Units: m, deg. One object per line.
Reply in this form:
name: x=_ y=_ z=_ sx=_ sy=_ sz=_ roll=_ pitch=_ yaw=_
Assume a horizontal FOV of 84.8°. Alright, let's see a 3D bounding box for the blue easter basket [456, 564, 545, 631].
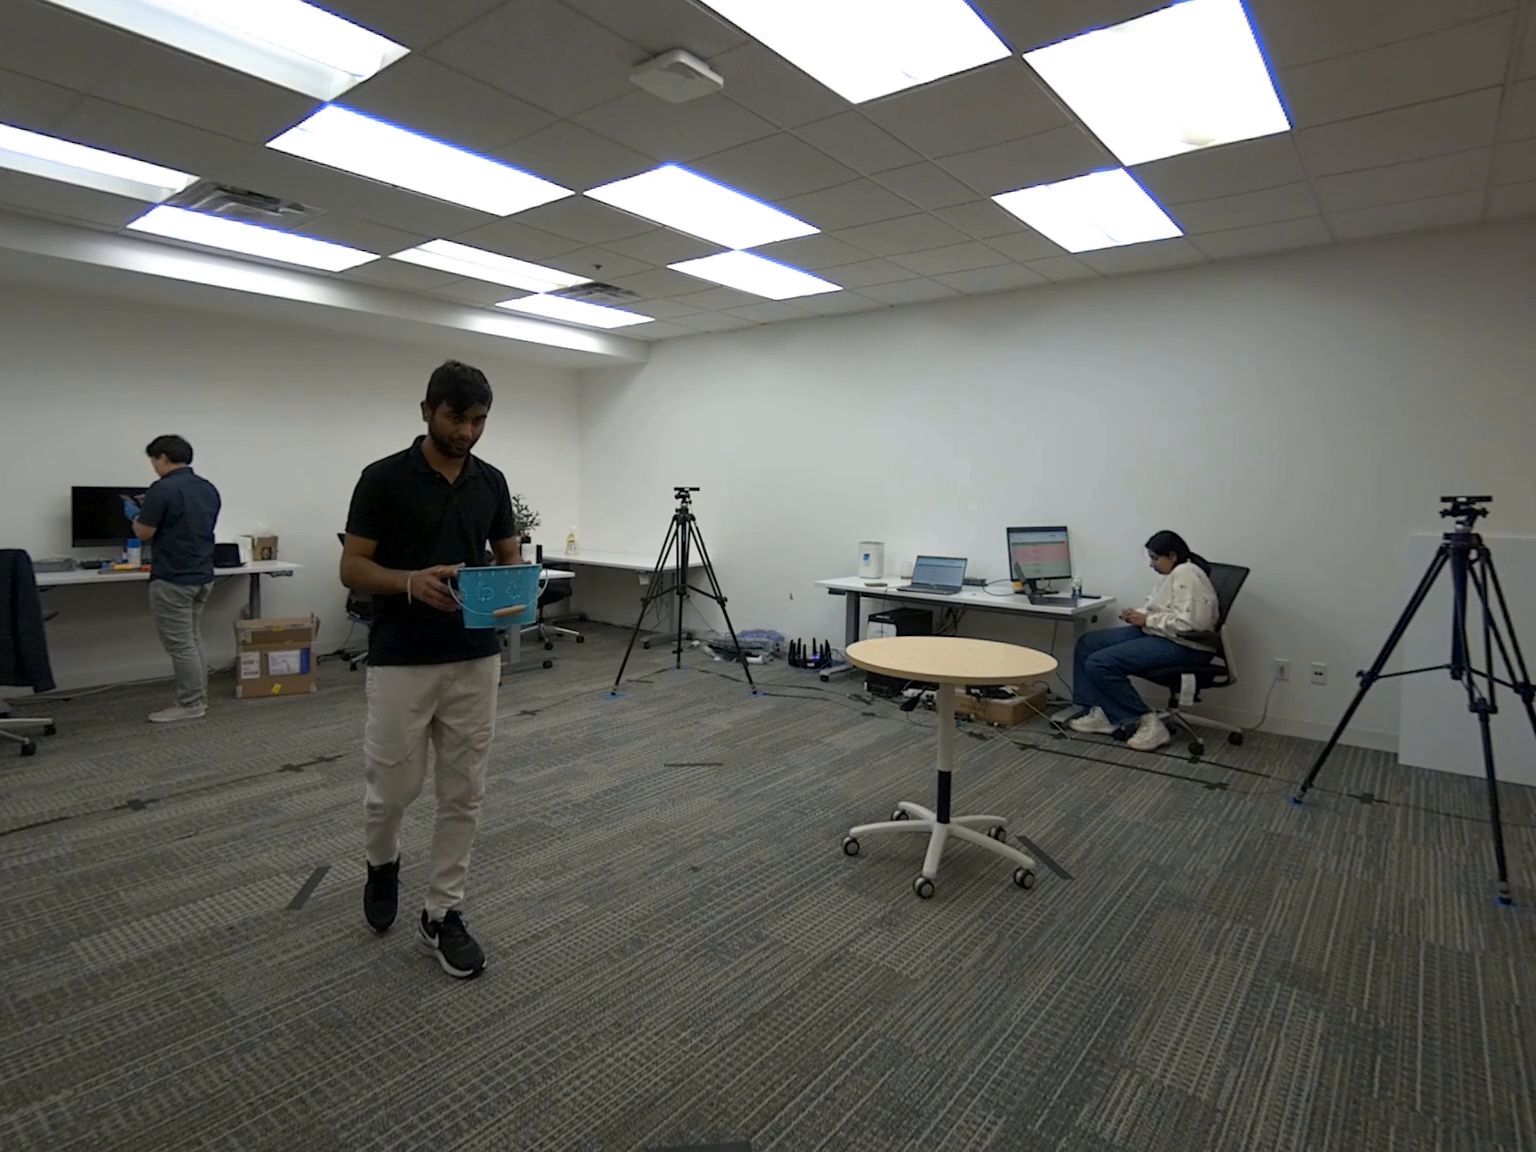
blue easter basket: x=-0.722 y=0.057 z=2.212 sx=0.243 sy=0.156 sz=0.244 roll=-3 pitch=1 yaw=-2
